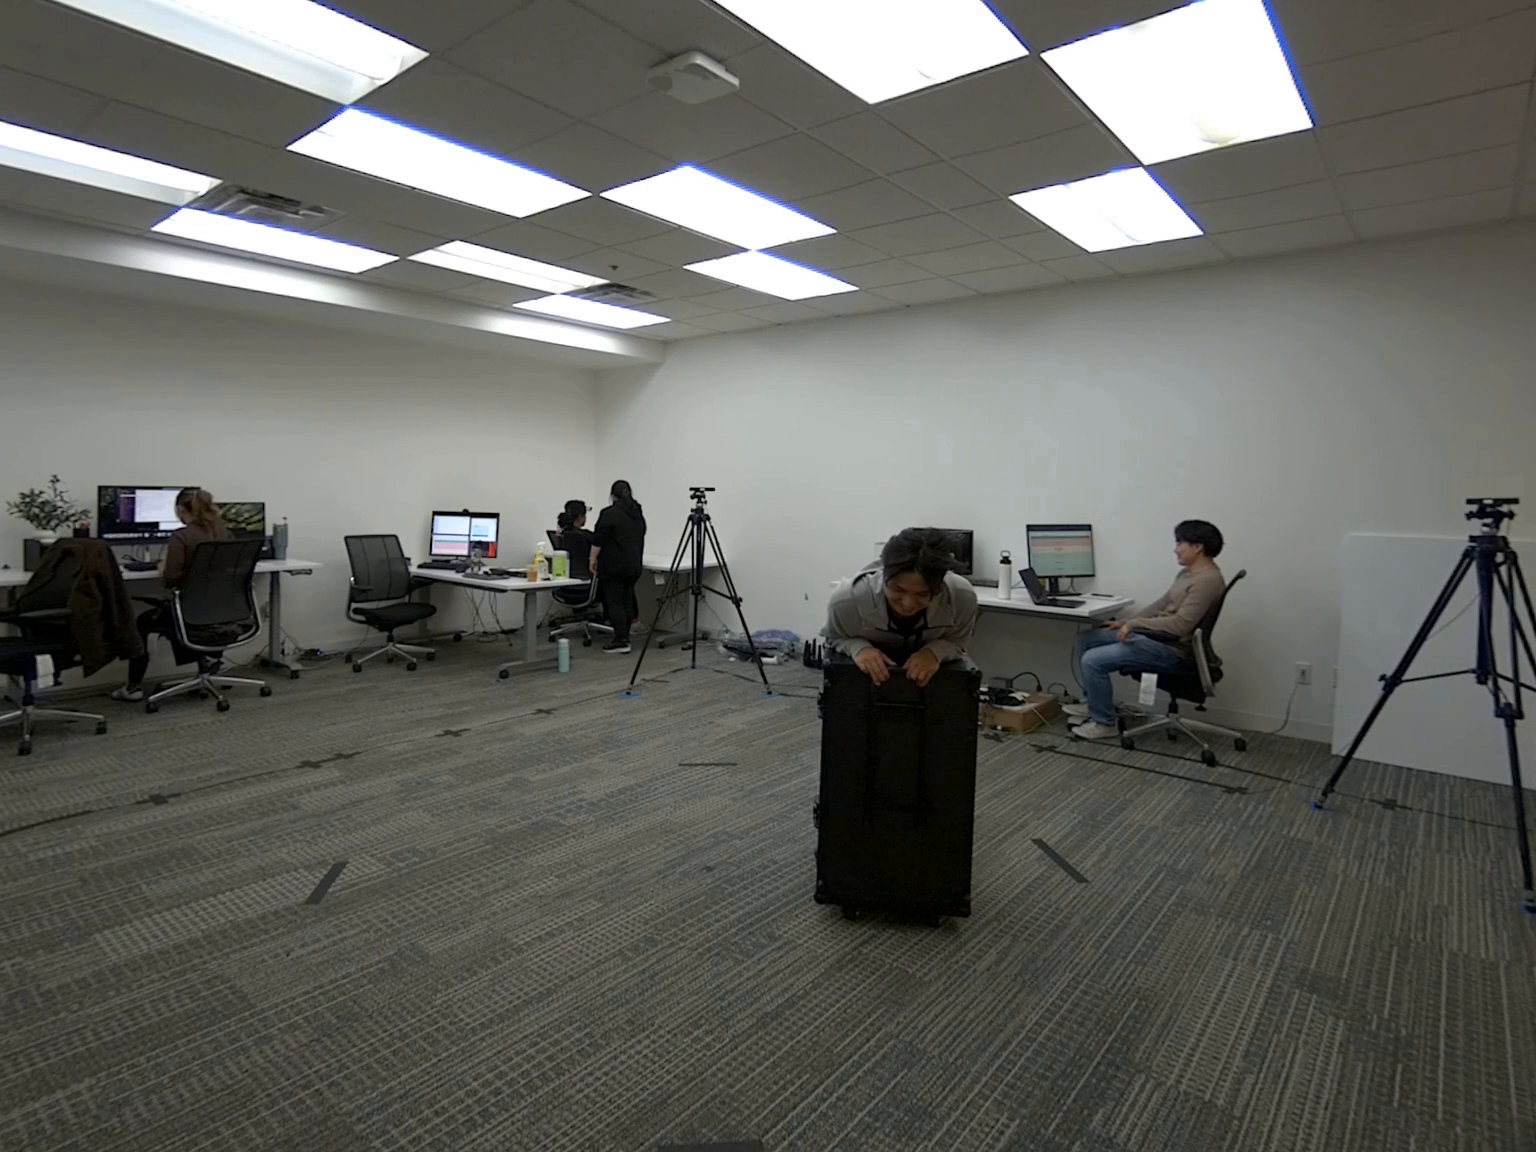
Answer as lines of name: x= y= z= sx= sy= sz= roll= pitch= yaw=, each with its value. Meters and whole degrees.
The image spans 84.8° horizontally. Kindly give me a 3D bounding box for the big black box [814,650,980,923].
big black box: x=0.412 y=0.690 z=2.832 sx=0.526 sy=0.859 sz=0.394 roll=1 pitch=4 yaw=8
